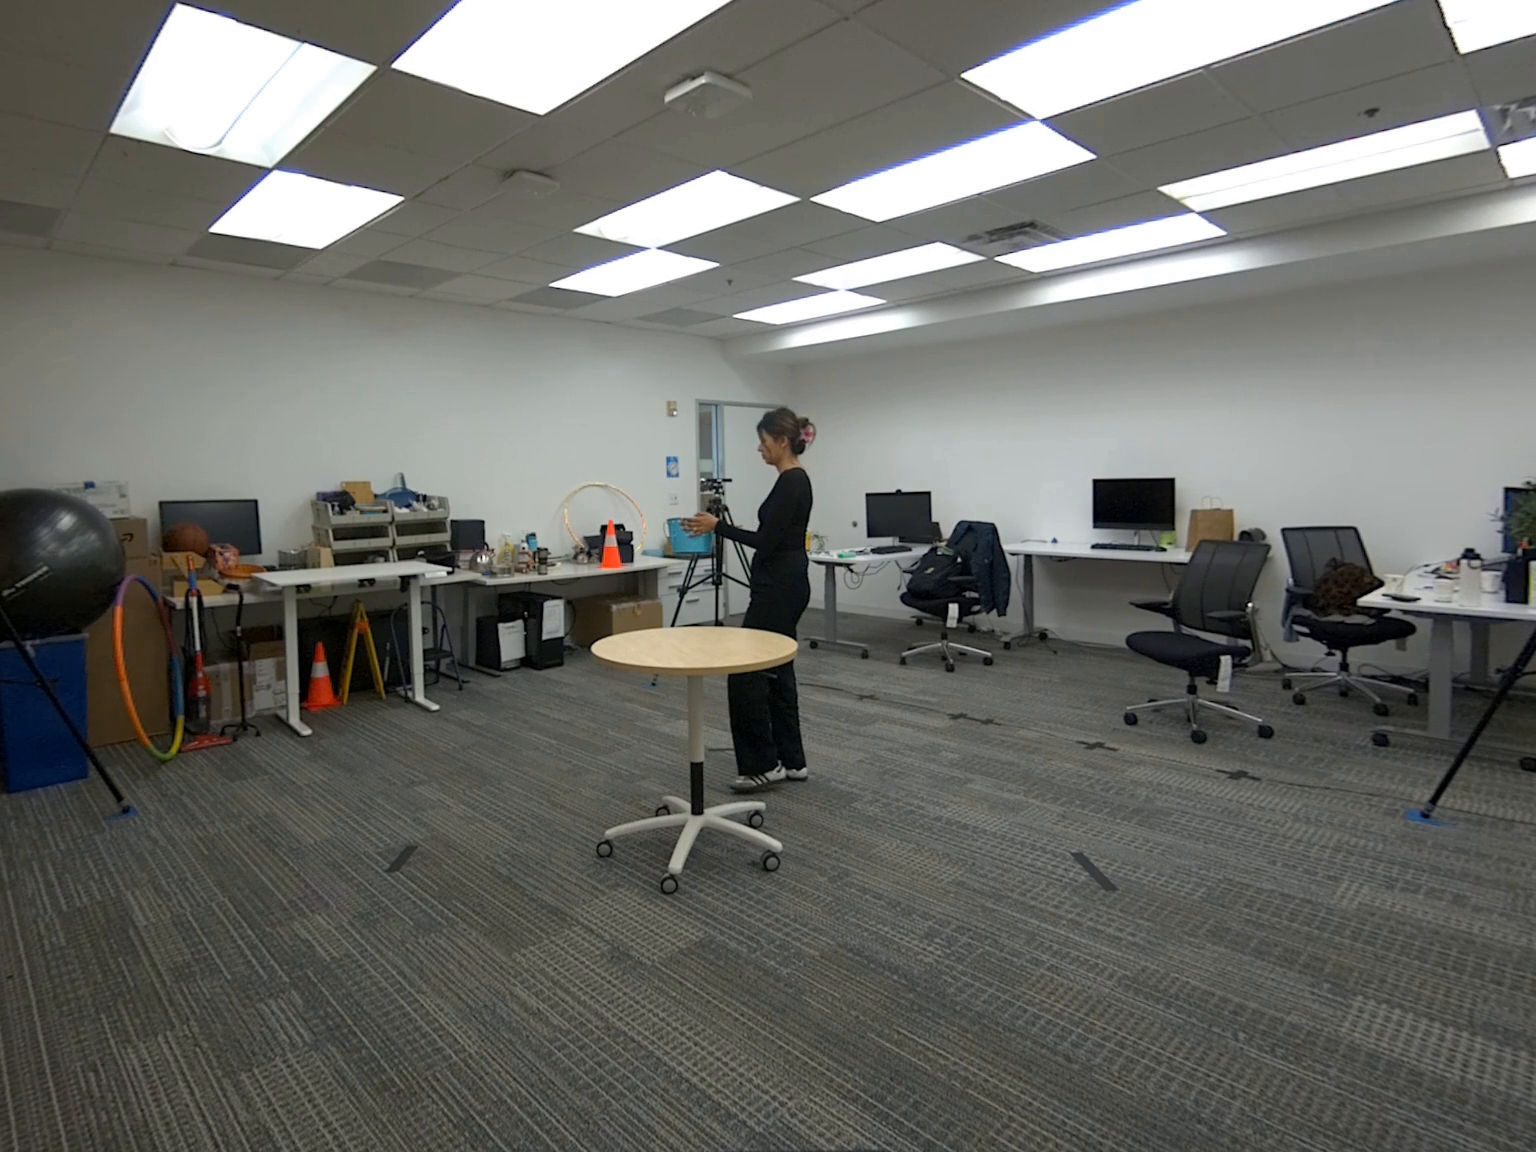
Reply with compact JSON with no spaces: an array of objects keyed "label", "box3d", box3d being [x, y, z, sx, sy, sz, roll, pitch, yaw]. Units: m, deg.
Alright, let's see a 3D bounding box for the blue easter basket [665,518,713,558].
[{"label":"blue easter basket","box3d":[-0.339,-0.182,3.911,0.243,0.156,0.243,-1,-3,-2]}]
